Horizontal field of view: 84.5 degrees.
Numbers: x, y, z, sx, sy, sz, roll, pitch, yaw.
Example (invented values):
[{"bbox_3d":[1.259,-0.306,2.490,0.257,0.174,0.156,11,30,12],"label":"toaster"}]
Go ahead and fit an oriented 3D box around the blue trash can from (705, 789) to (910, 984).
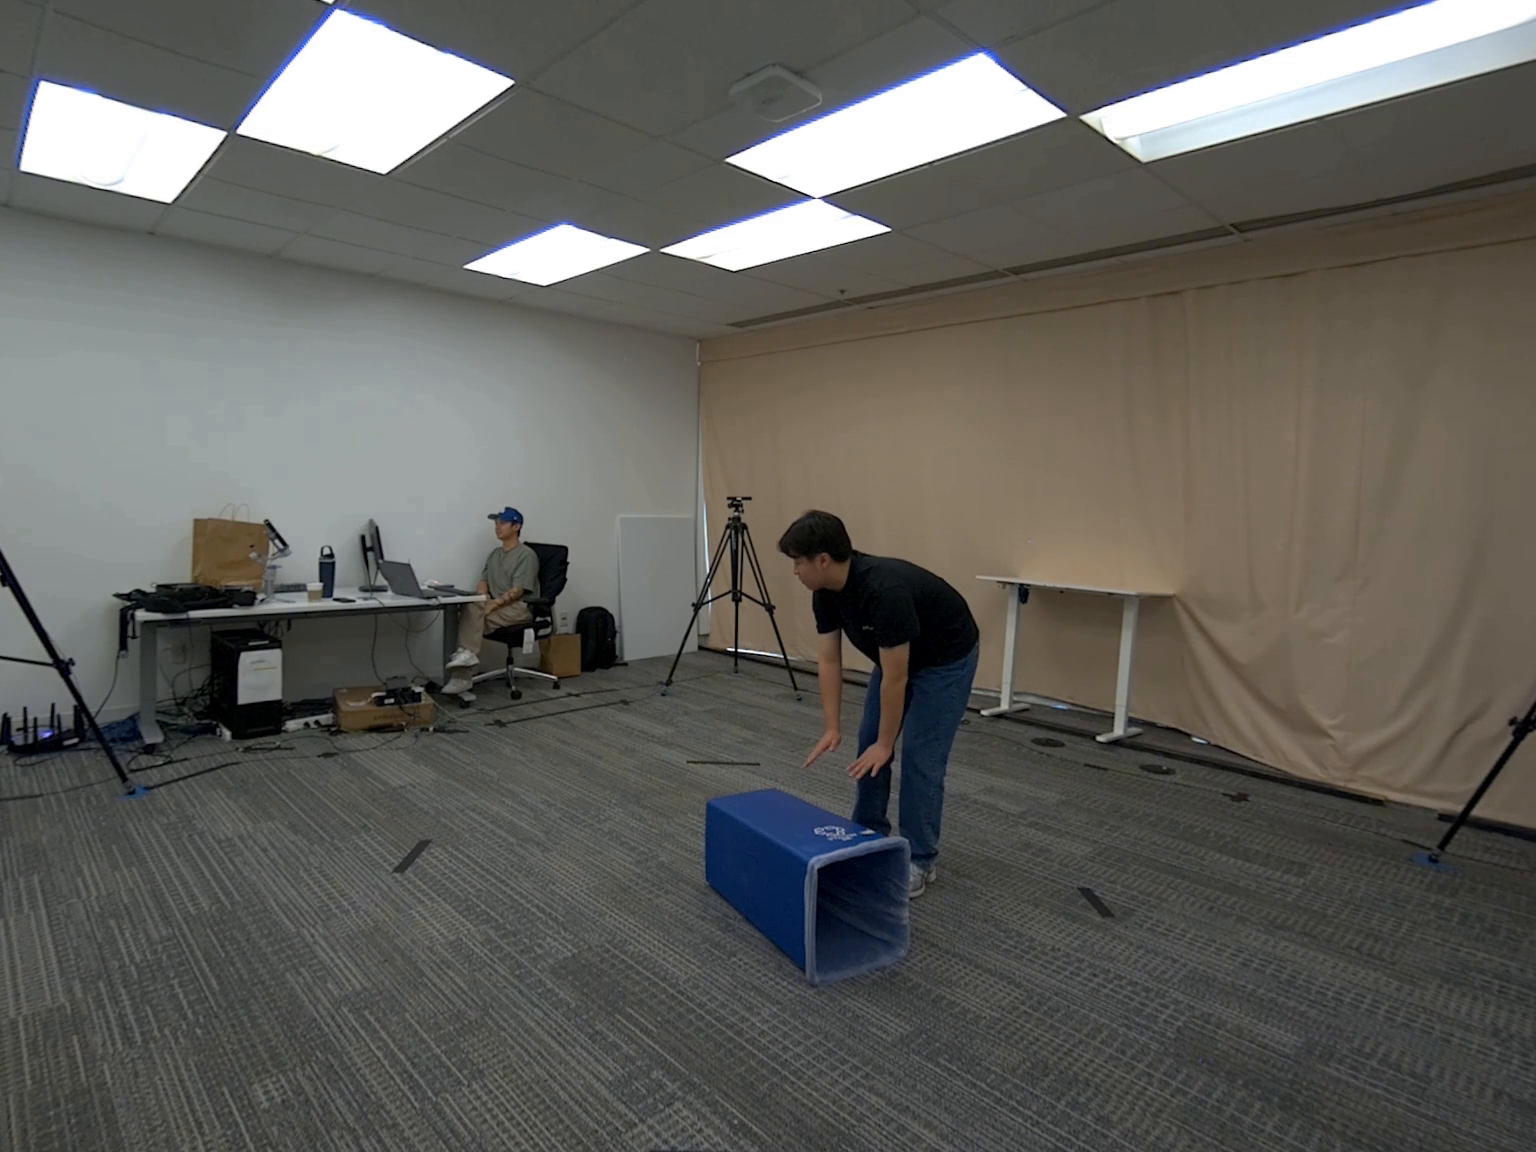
[{"bbox_3d":[0.083,0.976,2.781,0.366,0.378,0.729,-1,2,-32],"label":"blue trash can"}]
